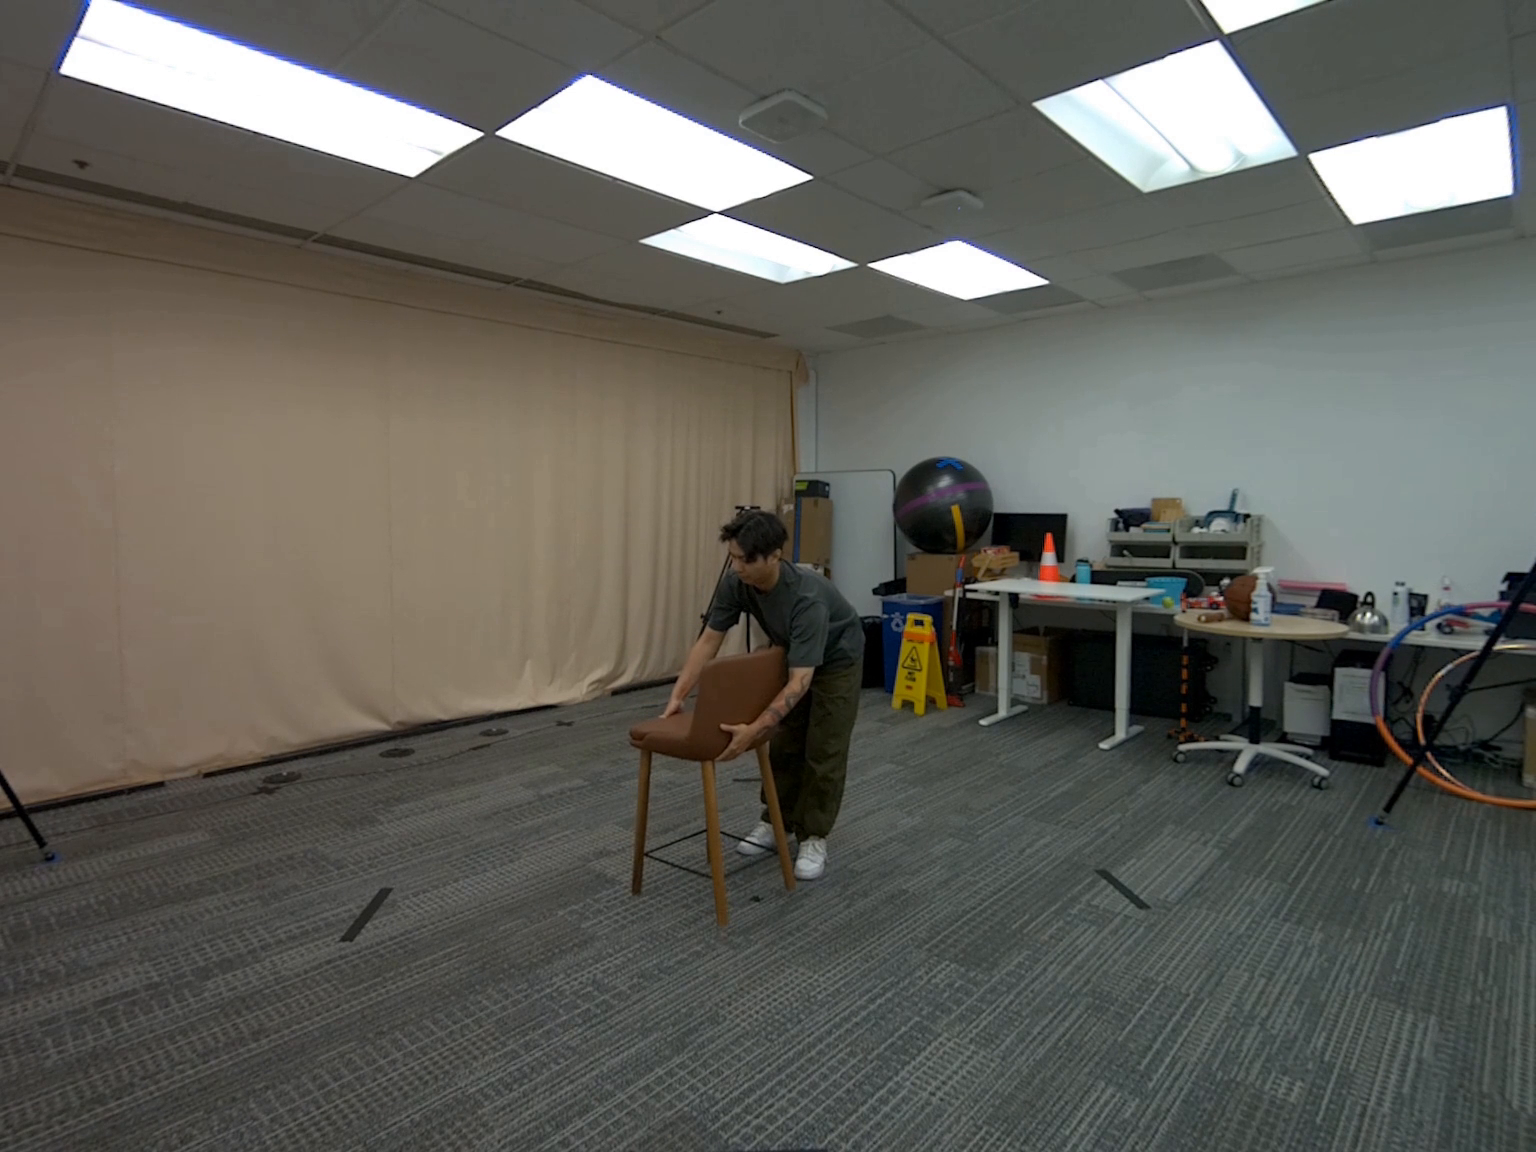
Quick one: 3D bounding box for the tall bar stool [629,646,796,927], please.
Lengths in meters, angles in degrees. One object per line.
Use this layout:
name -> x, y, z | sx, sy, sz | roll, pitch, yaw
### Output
tall bar stool -> -0.209, 0.693, 3.000 | 0.483, 0.888, 0.443 | 0, 3, 43
